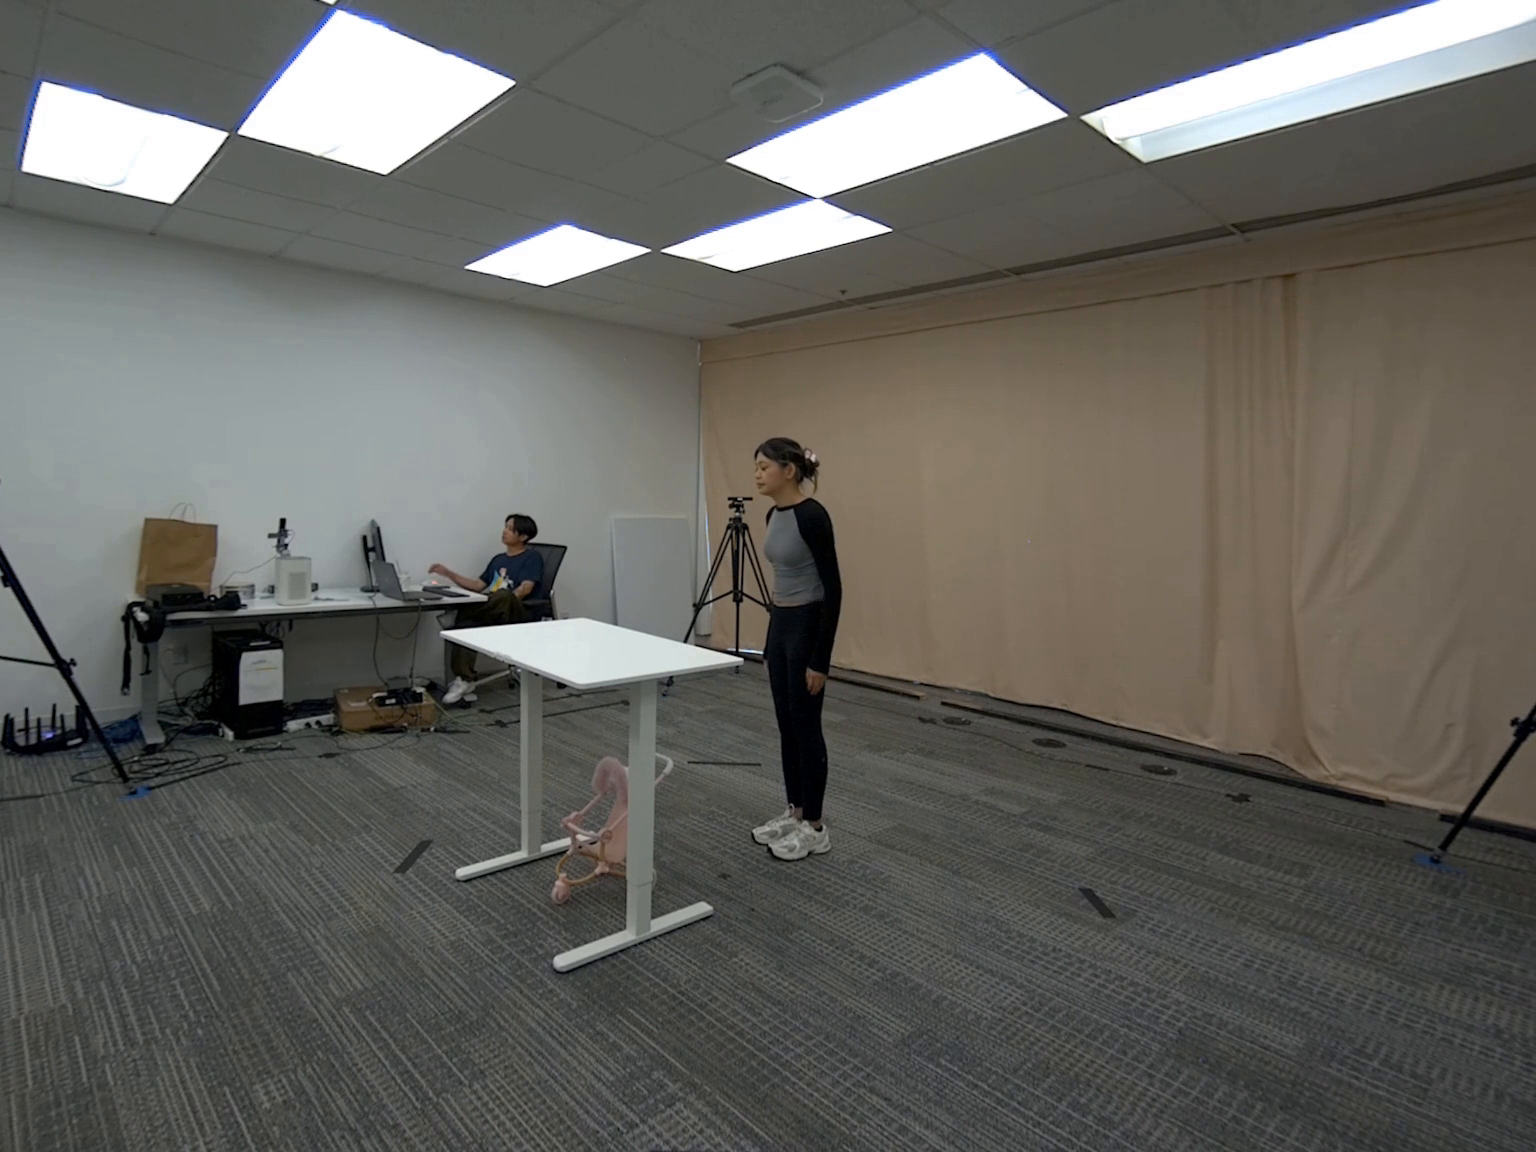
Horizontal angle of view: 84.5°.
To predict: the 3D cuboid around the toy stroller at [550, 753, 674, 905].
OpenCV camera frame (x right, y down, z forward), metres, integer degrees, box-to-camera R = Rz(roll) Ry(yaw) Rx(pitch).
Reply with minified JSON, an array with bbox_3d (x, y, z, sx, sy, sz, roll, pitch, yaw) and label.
[{"bbox_3d":[-0.571,0.885,2.973,0.332,0.536,0.288,17,-7,-37],"label":"toy stroller"}]
